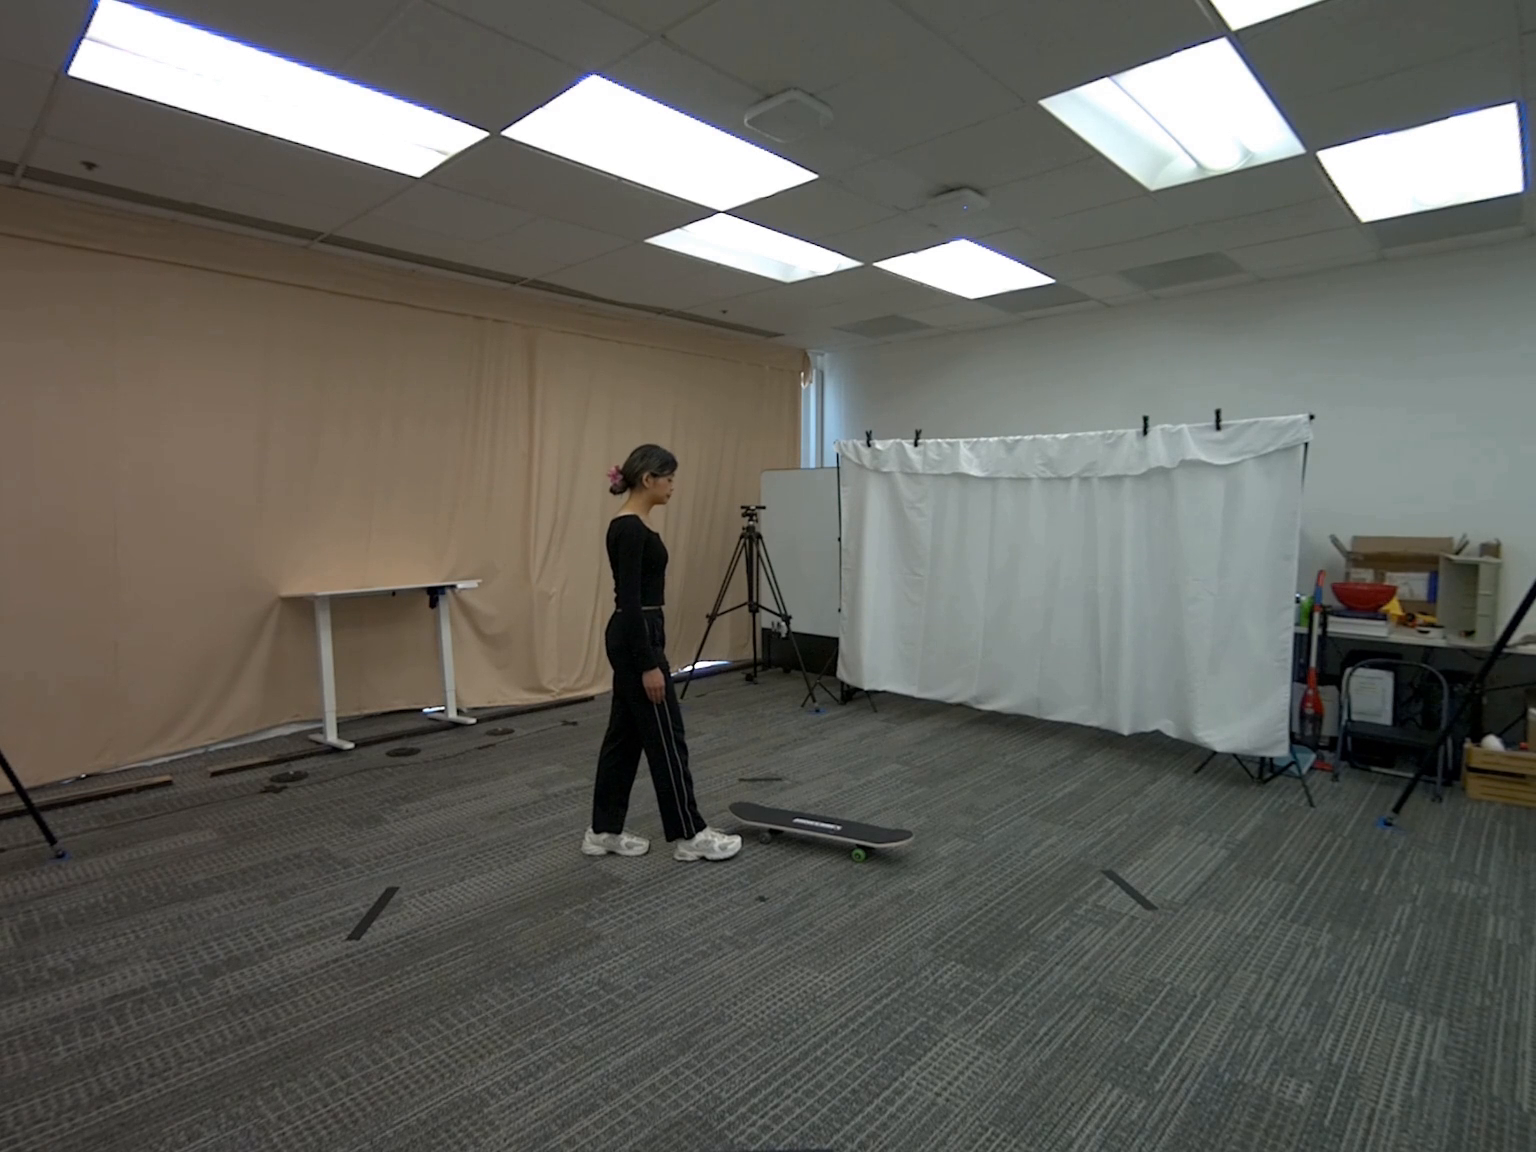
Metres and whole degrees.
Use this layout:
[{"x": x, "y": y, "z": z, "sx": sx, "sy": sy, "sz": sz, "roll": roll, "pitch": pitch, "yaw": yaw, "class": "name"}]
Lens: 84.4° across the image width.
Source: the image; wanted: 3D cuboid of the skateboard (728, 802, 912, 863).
[{"x": 0.208, "y": 1.045, "z": 3.440, "sx": 0.806, "sy": 0.110, "sz": 0.189, "roll": 2, "pitch": 4, "yaw": 25, "class": "skateboard"}]
